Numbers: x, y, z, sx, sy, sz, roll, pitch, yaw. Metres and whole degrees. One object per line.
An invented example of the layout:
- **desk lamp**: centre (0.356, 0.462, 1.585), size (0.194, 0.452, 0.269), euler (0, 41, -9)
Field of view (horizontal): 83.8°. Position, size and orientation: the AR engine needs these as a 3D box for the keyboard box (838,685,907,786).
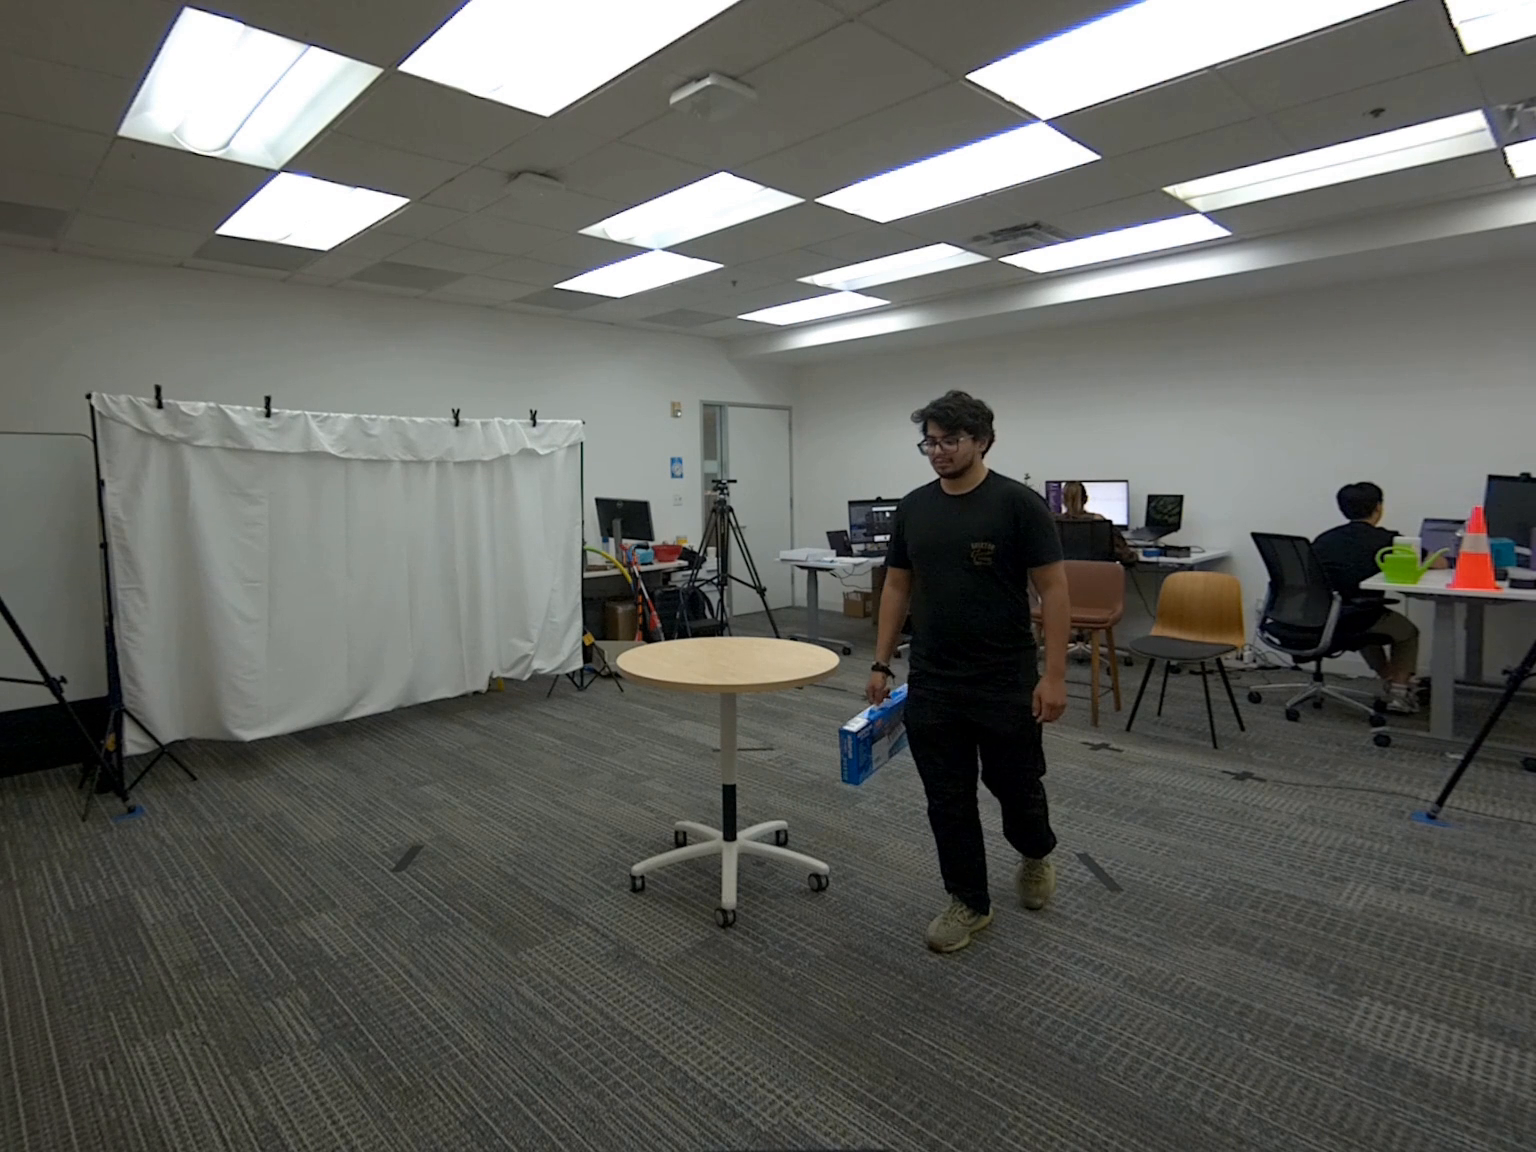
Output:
- **keyboard box**: centre (0.375, 0.495, 2.717), size (0.061, 0.174, 0.429), euler (4, 15, 35)
